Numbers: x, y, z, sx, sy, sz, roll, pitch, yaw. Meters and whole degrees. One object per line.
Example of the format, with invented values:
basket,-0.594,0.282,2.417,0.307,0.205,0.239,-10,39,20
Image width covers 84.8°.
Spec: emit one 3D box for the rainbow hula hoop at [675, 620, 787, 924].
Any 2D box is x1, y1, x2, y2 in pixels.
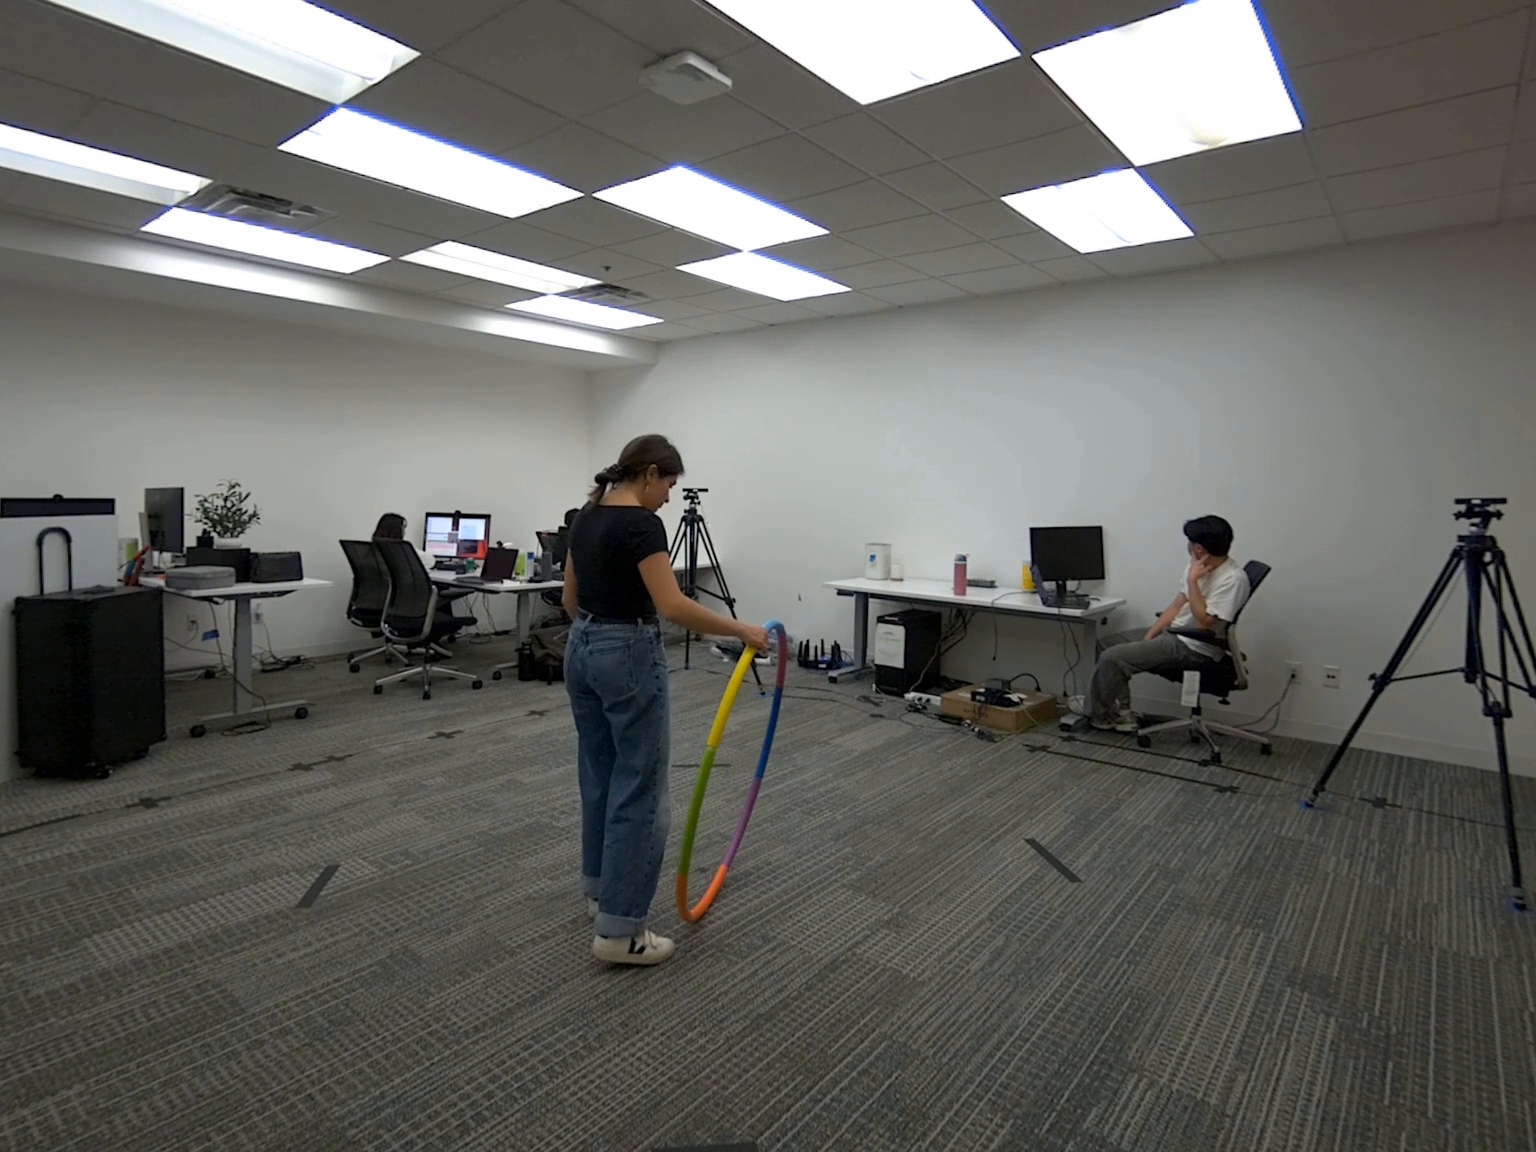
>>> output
rainbow hula hoop,-0.096,0.618,2.801,0.036,0.974,0.966,14,7,12
